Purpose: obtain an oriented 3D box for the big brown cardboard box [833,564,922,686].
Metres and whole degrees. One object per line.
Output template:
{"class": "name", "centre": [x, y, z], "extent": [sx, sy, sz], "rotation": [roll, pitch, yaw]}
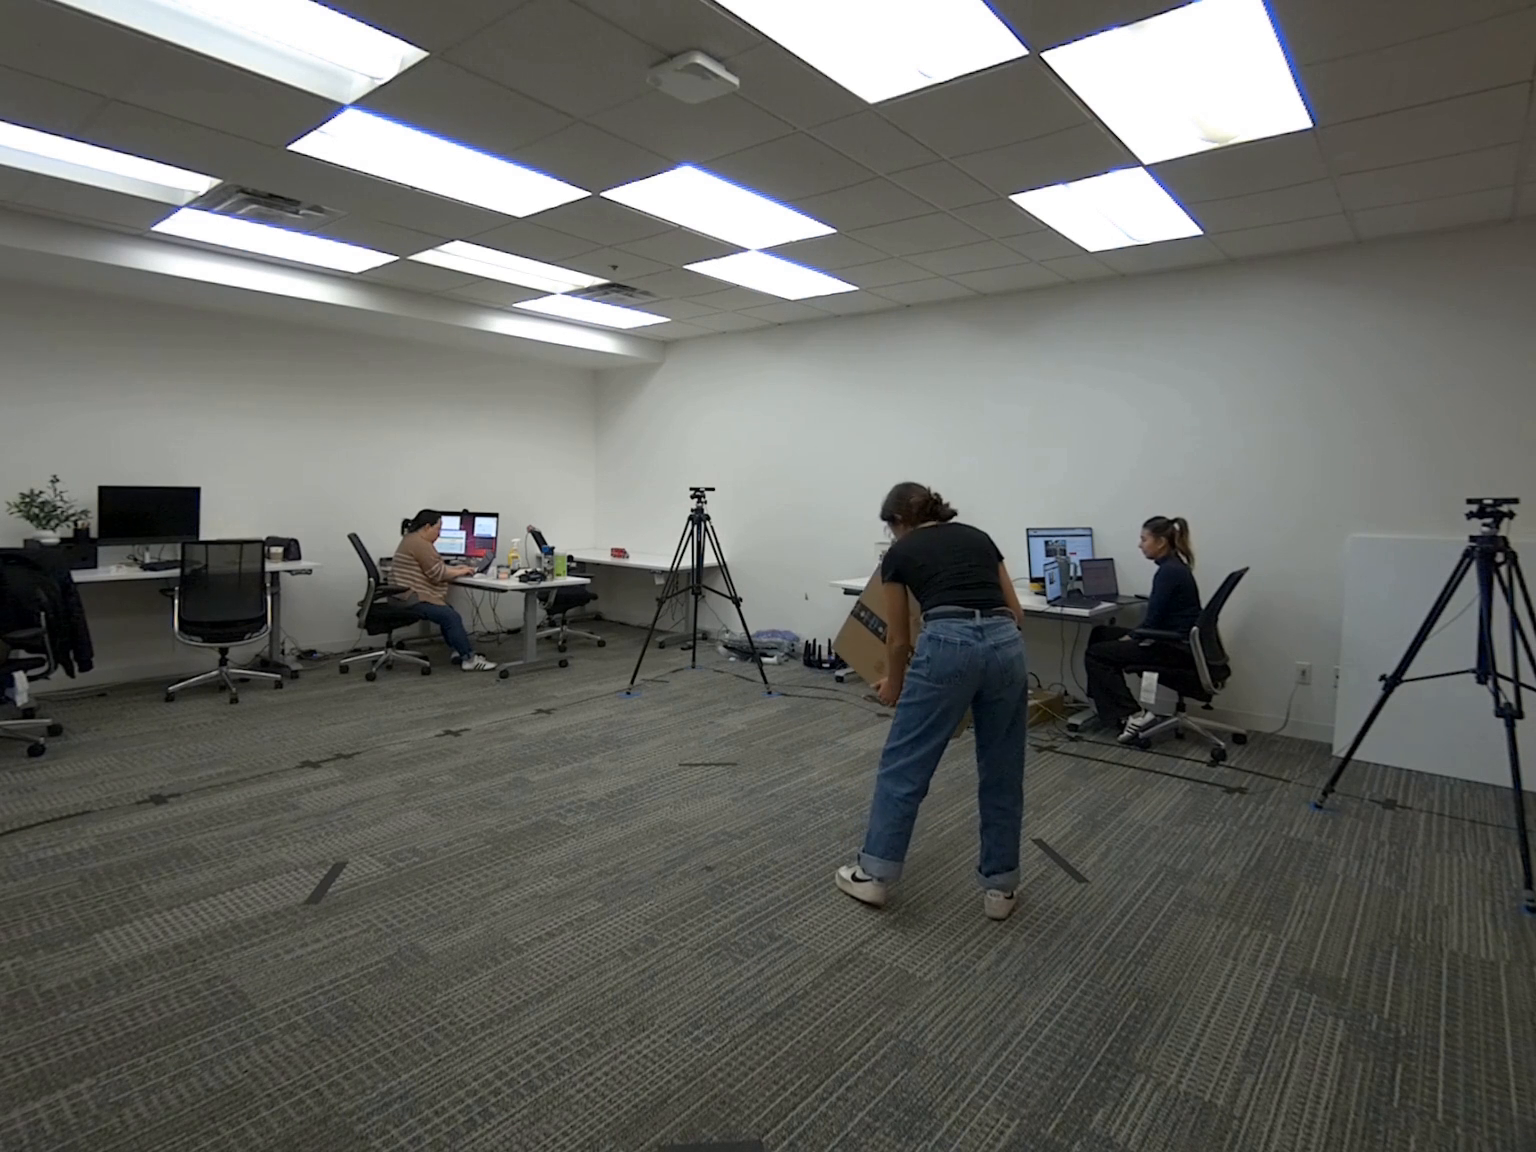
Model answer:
{"class": "big brown cardboard box", "centre": [0.575, 0.285, 3.288], "extent": [0.225, 0.415, 0.614], "rotation": [7, 29, -46]}
